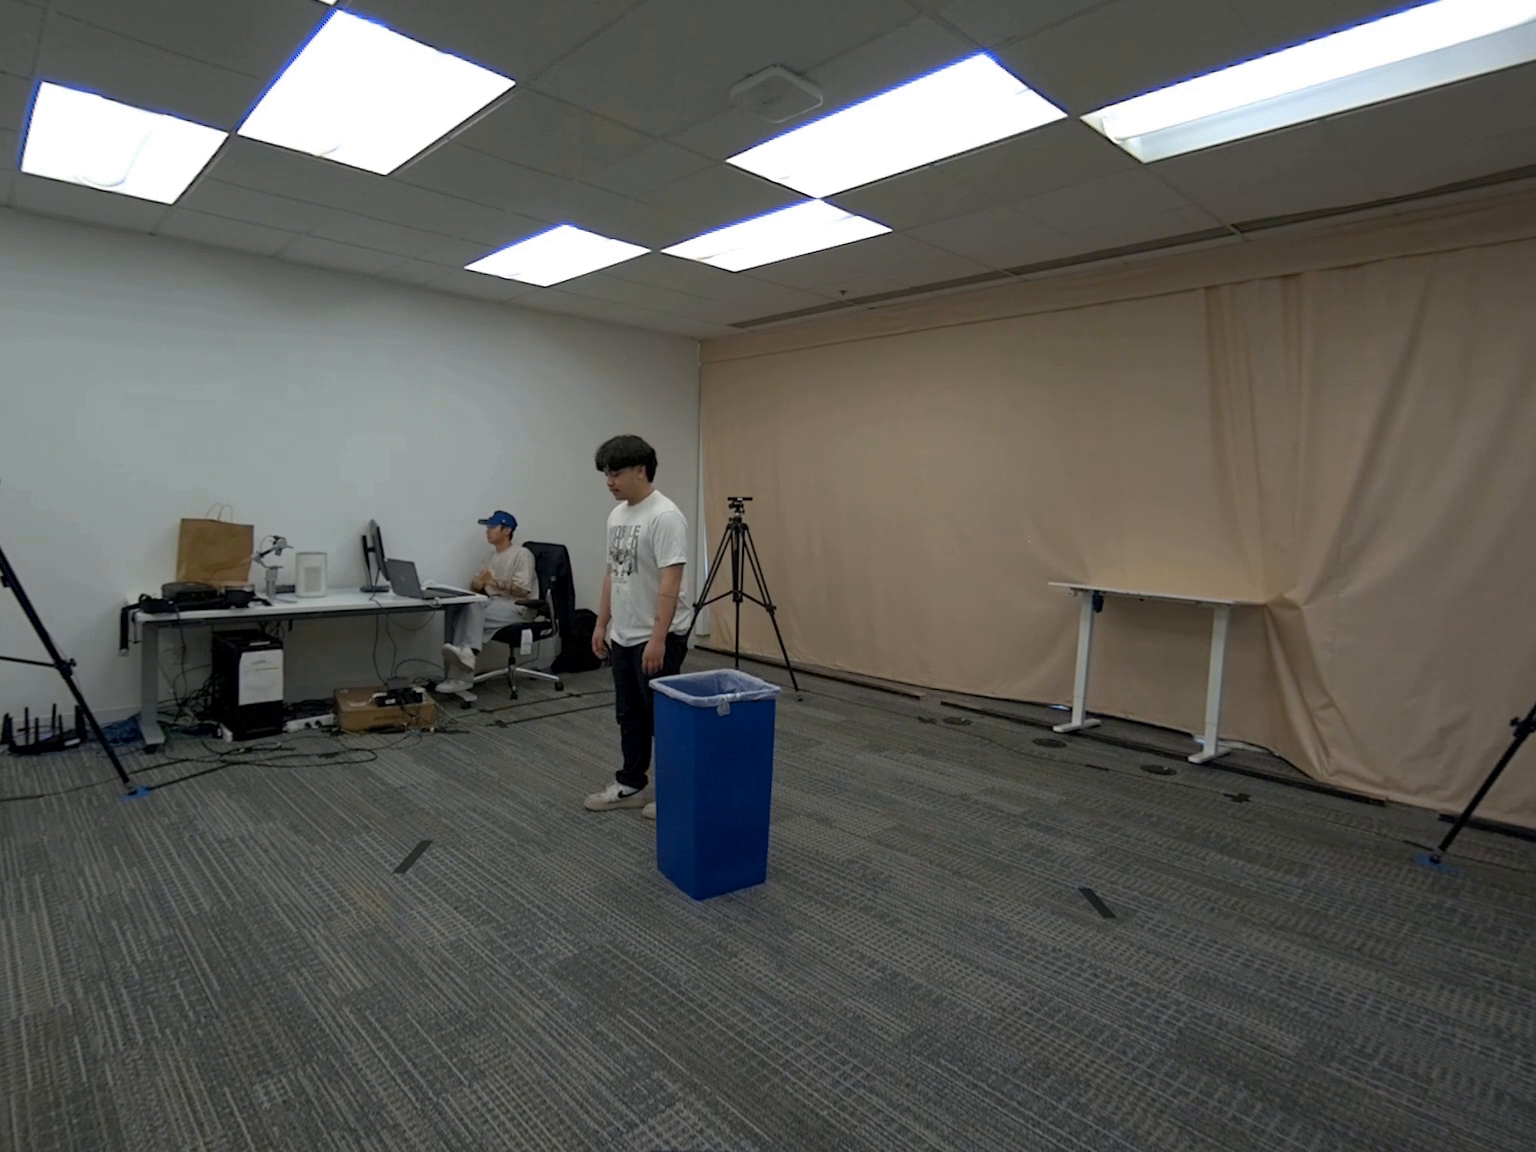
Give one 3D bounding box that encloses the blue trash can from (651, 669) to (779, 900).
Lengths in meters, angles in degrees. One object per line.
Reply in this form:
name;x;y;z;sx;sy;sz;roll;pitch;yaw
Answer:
blue trash can;-0.215;0.748;3.095;0.370;0.712;0.383;-1;4;-34
